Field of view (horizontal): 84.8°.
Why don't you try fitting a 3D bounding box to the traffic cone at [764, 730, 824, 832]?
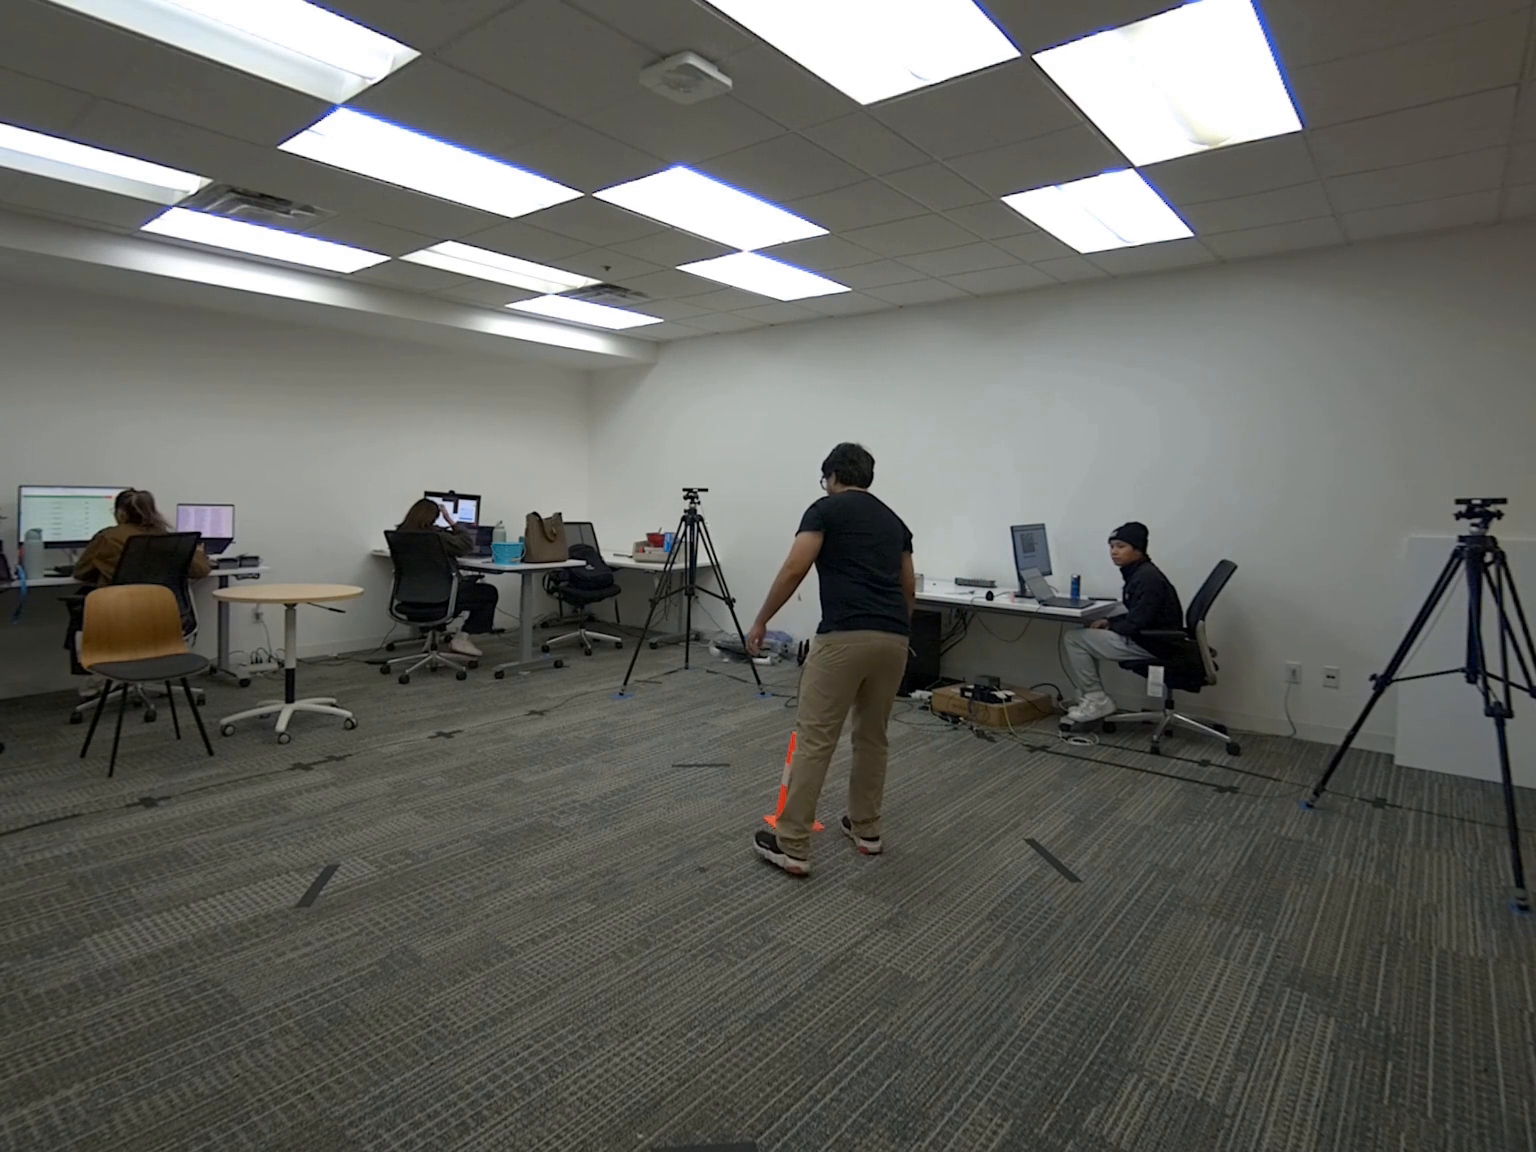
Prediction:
[{"bbox_3d":[0.092,0.841,3.554,0.201,0.383,0.208,-2,3,-22],"label":"traffic cone"}]
